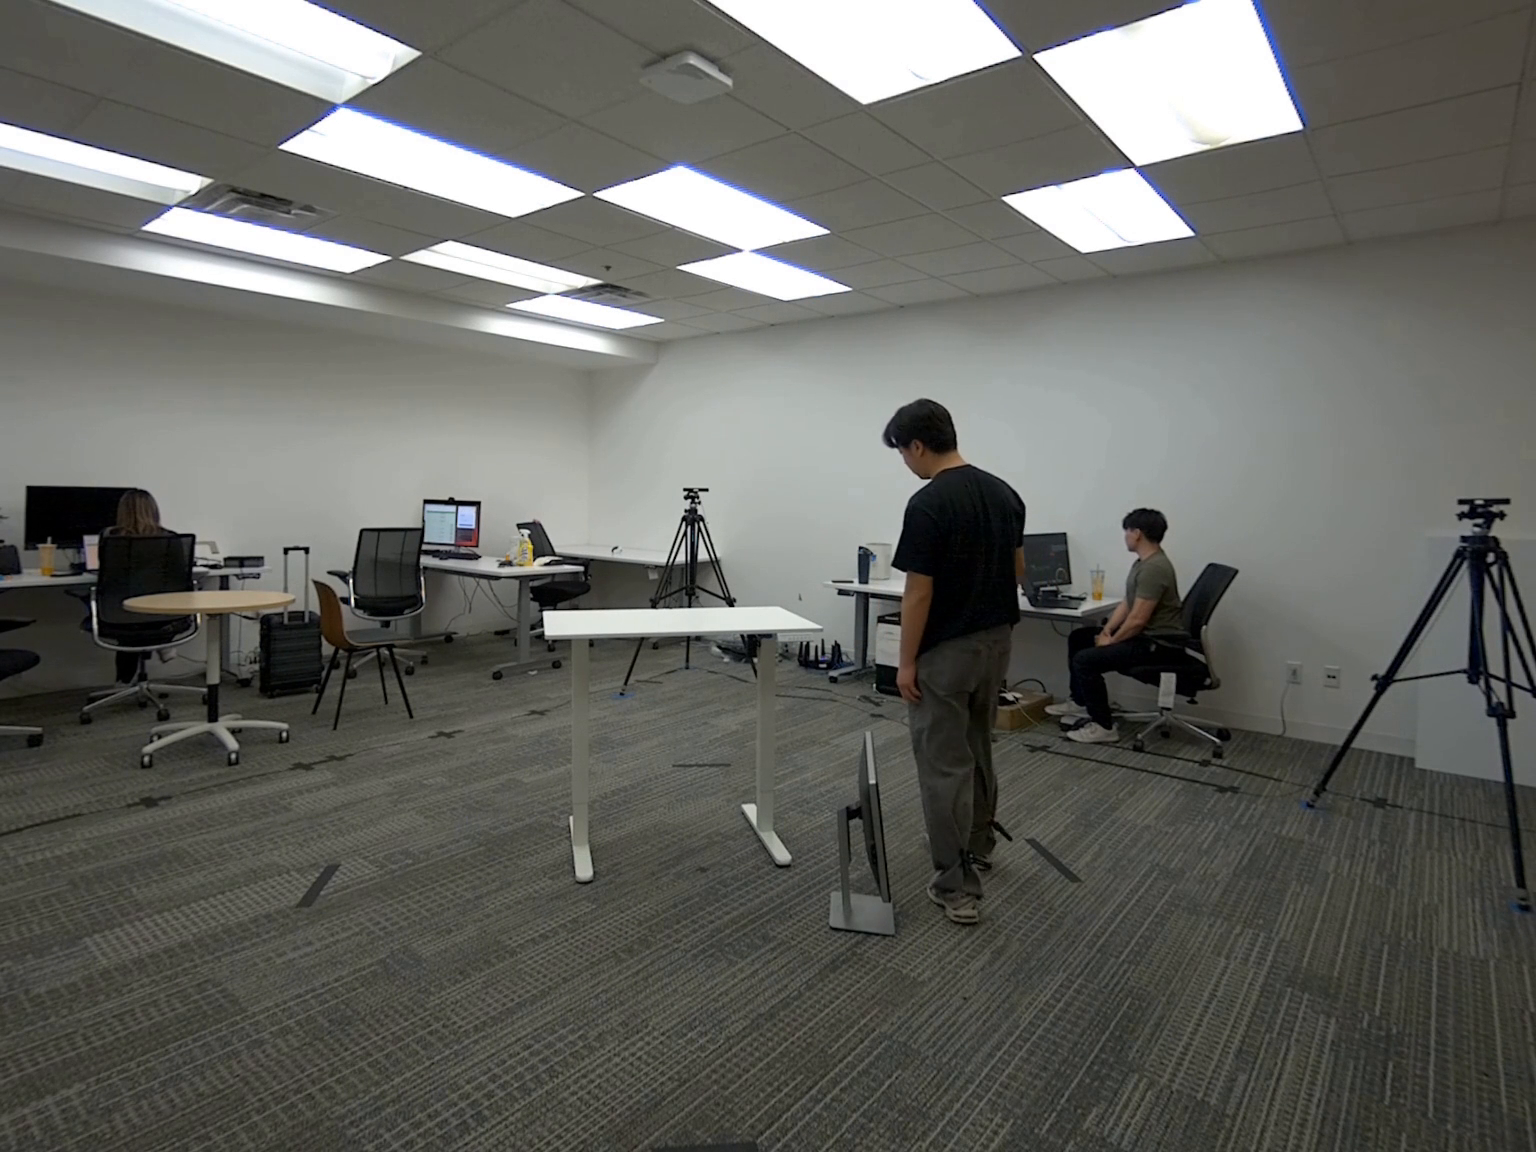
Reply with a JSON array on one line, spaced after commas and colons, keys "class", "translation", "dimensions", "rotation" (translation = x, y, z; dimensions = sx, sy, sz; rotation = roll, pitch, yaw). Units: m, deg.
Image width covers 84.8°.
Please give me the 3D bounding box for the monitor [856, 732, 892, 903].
[{"class": "monitor", "translation": [0.318, 0.856, 2.793], "dimensions": [0.225, 0.564, 0.557], "rotation": [6, 4, 8]}]
